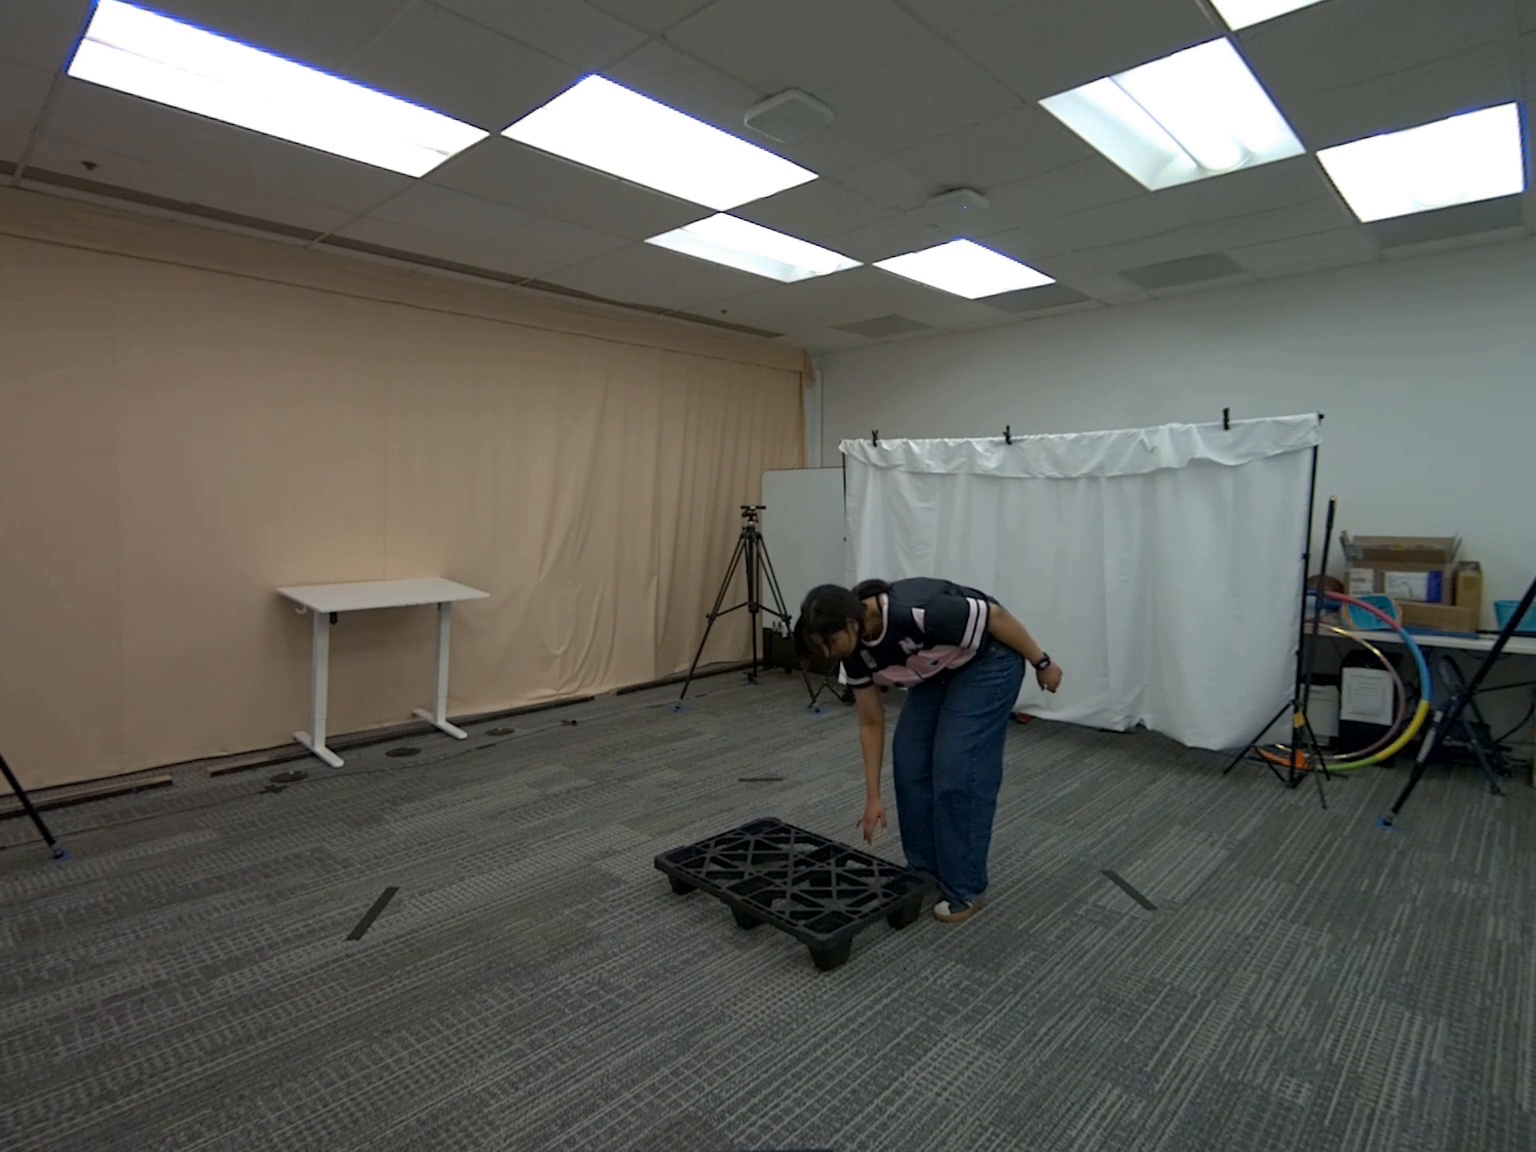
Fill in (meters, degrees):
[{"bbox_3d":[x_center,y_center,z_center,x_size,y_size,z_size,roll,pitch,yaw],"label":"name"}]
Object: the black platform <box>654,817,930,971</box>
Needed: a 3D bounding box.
[{"bbox_3d":[0.080,1.084,2.924,0.587,0.143,0.832,-6,7,-43],"label":"black platform"}]
